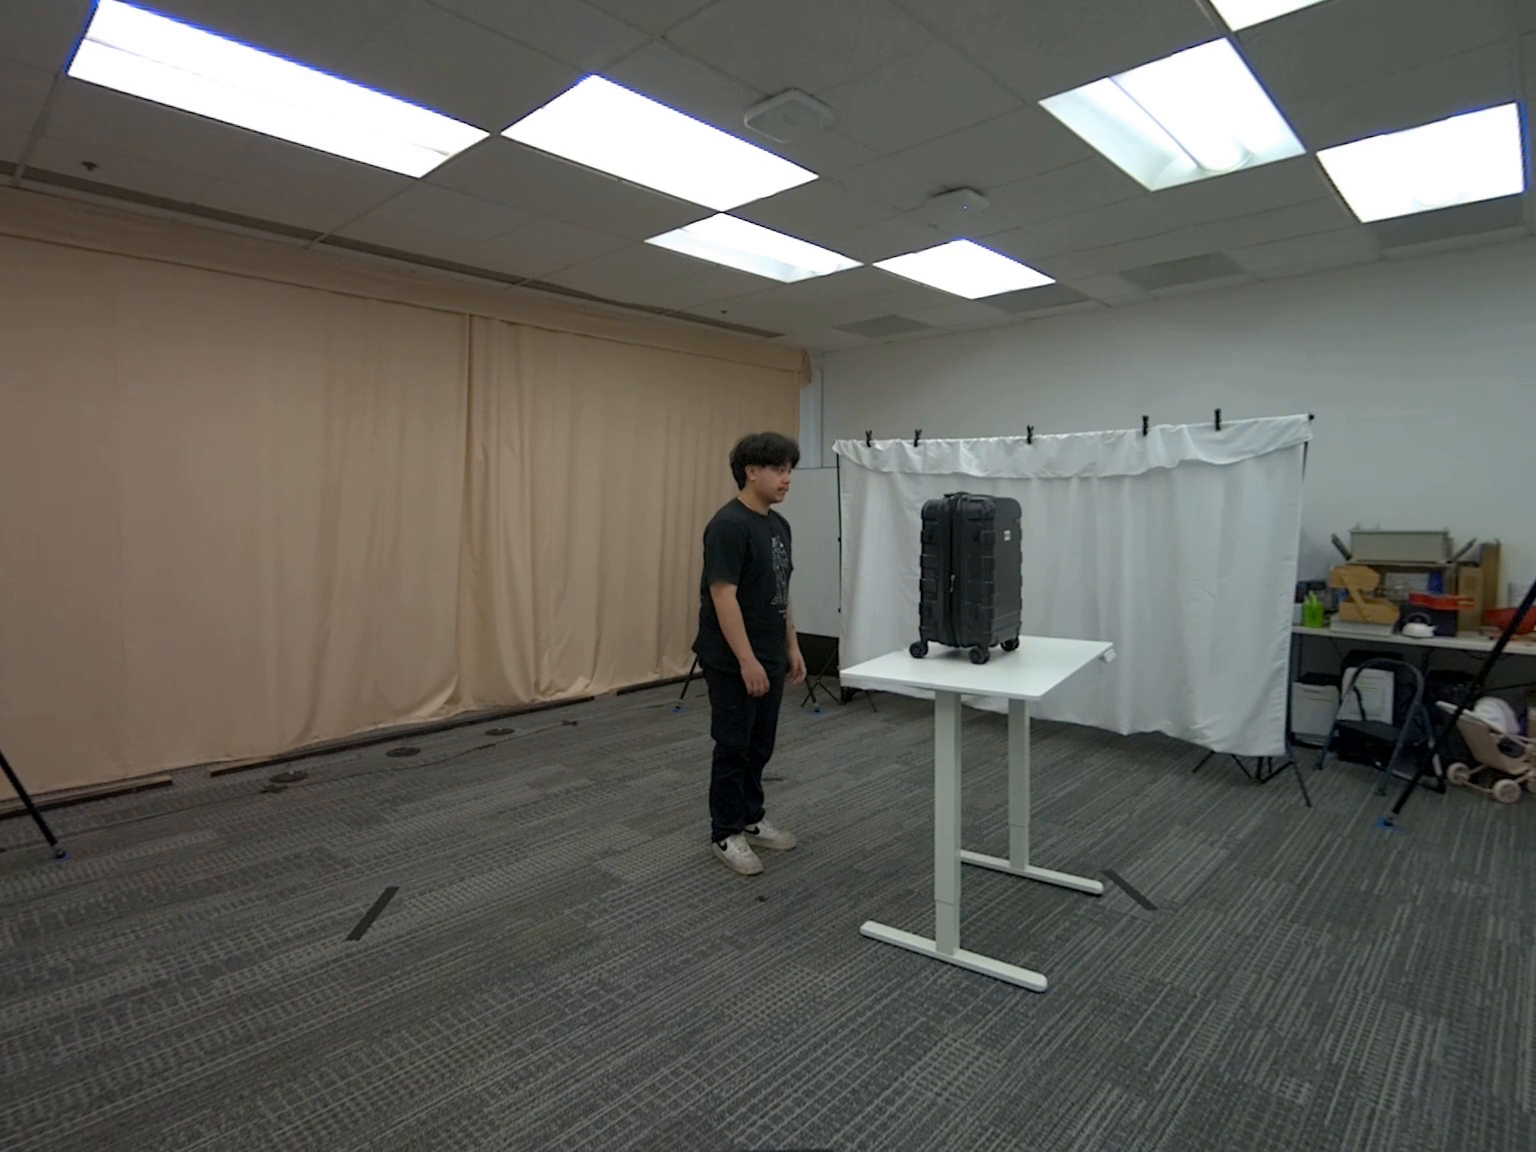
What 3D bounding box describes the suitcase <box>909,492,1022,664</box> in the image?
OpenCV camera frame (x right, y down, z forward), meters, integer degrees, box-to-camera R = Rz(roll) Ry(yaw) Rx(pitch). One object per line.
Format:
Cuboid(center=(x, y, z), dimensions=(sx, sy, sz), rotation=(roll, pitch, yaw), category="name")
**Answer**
Cuboid(center=(0.694, -0.007, 2.858), dimensions=(0.256, 0.548, 0.364), rotation=(3, 5, 35), category="suitcase")
